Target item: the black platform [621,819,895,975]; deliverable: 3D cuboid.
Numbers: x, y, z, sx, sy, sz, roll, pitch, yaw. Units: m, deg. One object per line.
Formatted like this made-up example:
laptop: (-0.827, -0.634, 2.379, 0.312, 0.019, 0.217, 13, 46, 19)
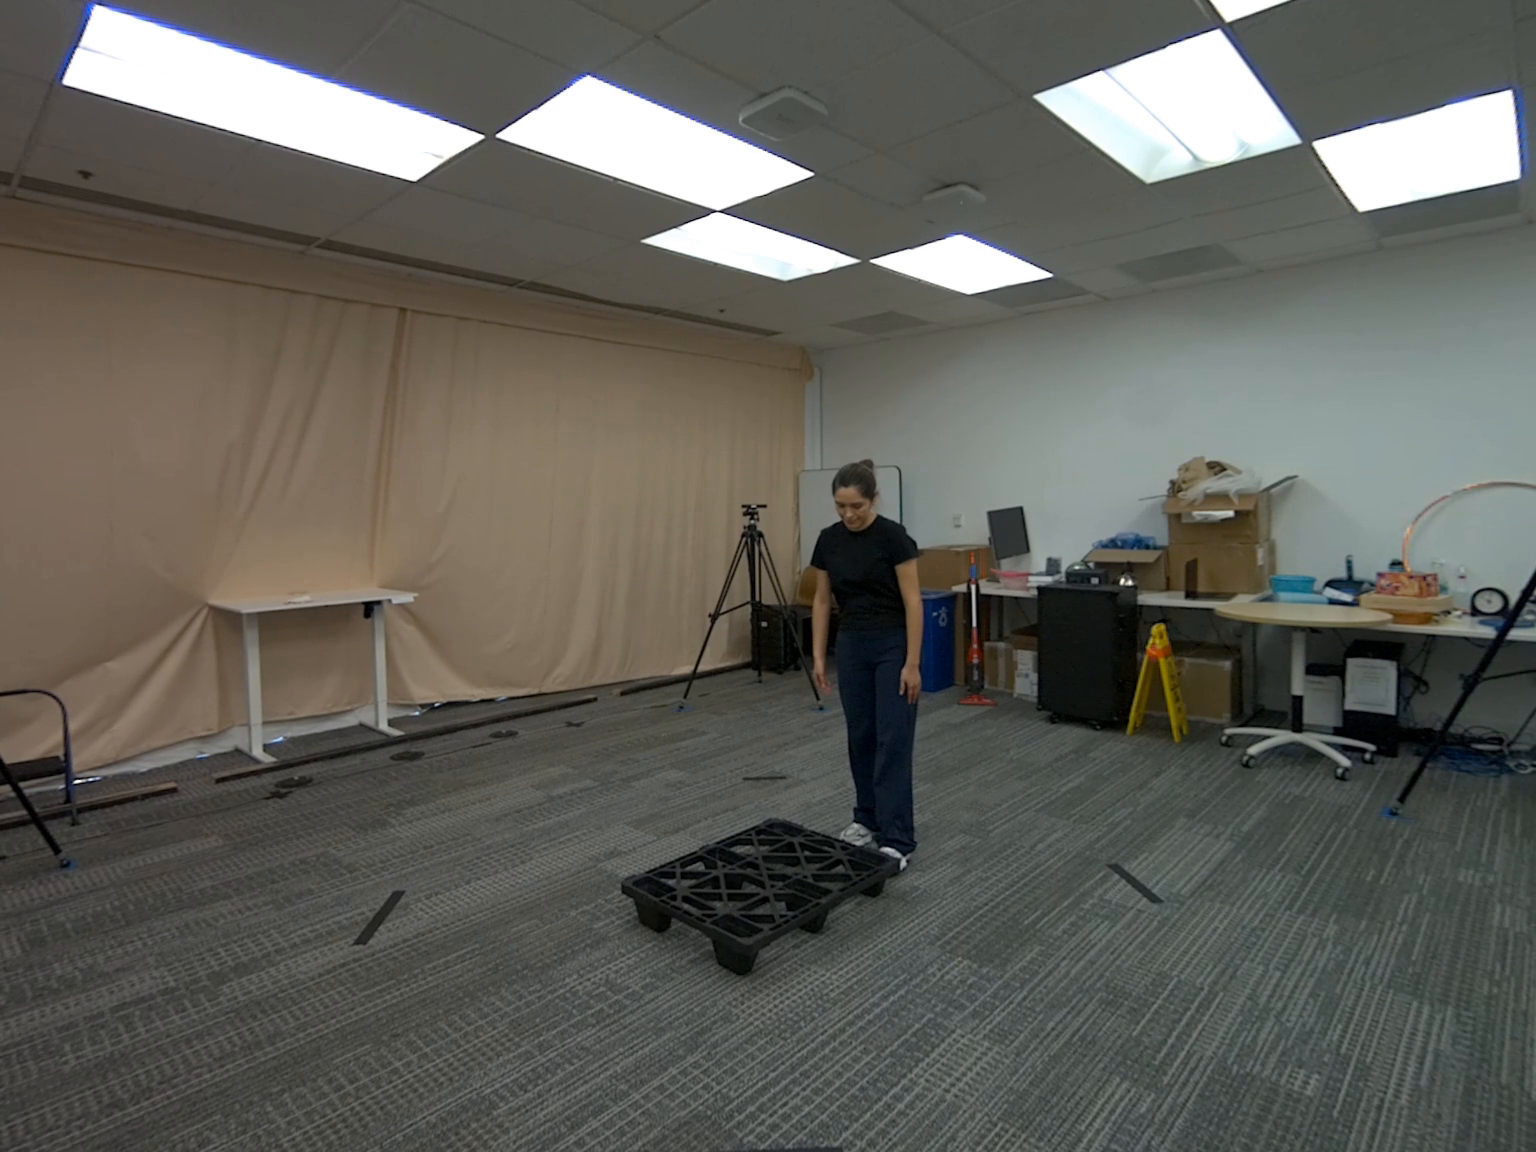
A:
black platform: (0.005, 1.082, 2.903, 0.625, 0.143, 0.781, 5, 8, 43)
